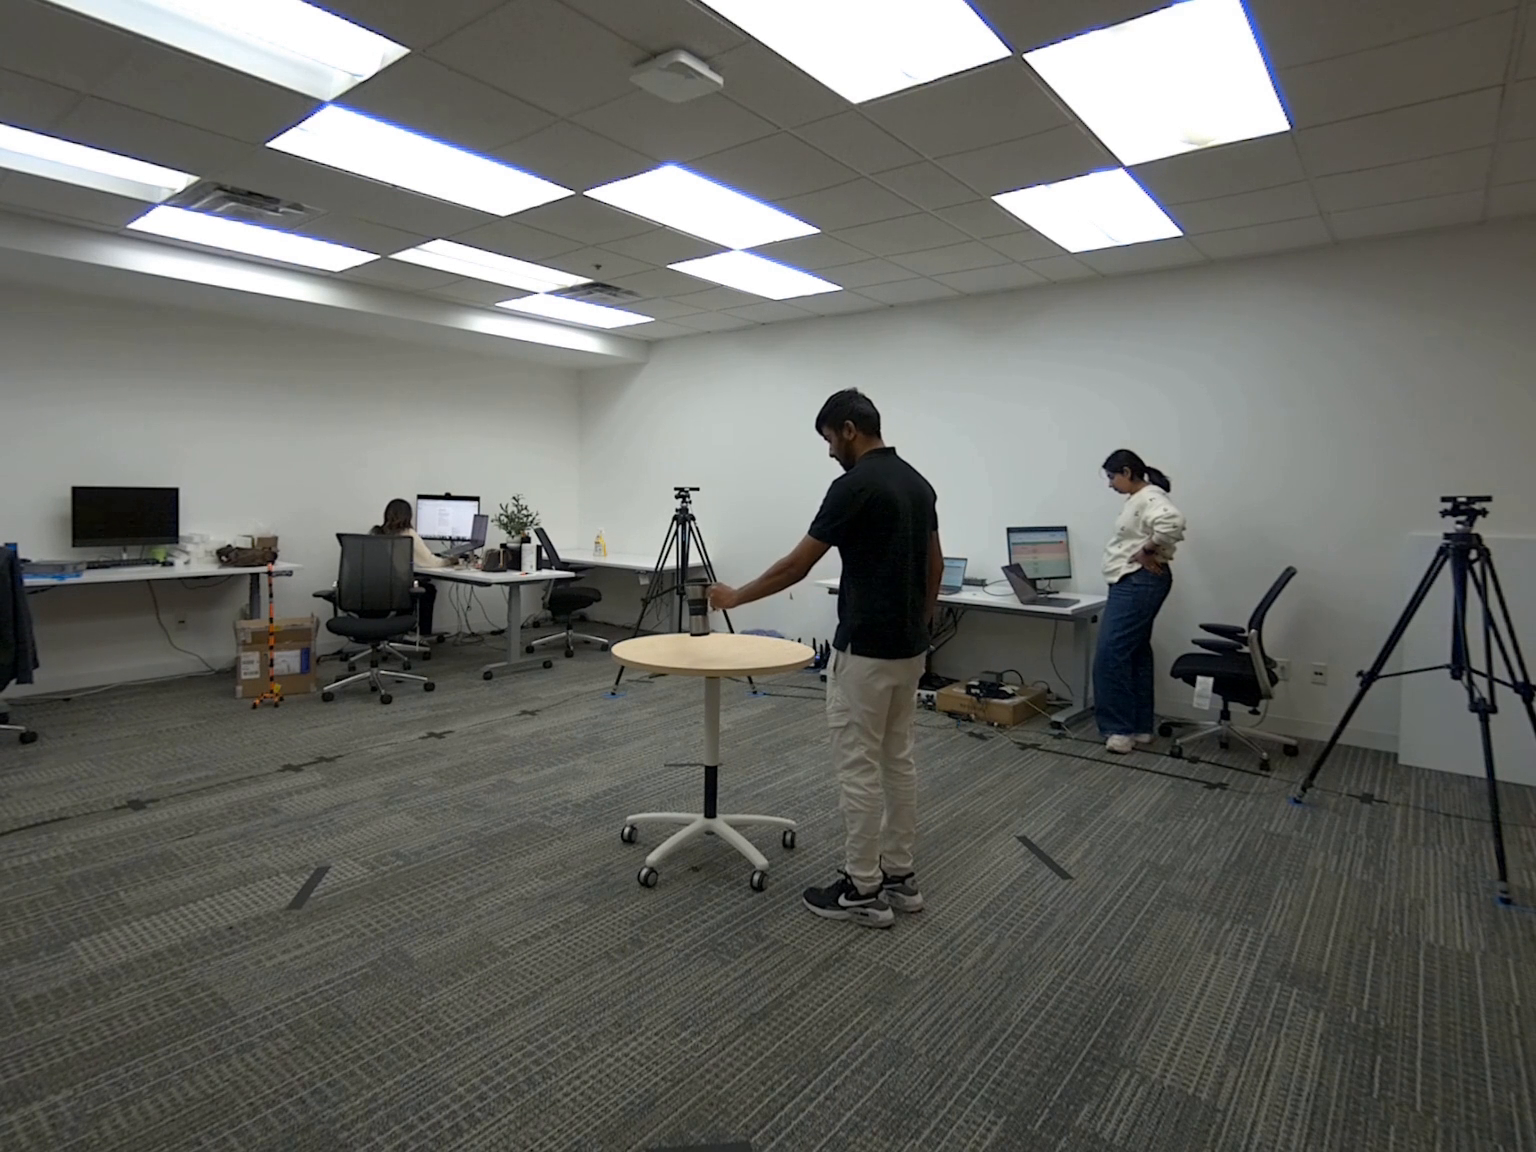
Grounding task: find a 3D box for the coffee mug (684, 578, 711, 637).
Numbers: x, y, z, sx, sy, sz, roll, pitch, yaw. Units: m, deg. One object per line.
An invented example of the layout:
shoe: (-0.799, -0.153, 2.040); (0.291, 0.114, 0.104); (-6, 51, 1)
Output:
coffee mug: (-0.231, 0.110, 3.001); (0.125, 0.204, 0.085); (-8, -9, 39)
